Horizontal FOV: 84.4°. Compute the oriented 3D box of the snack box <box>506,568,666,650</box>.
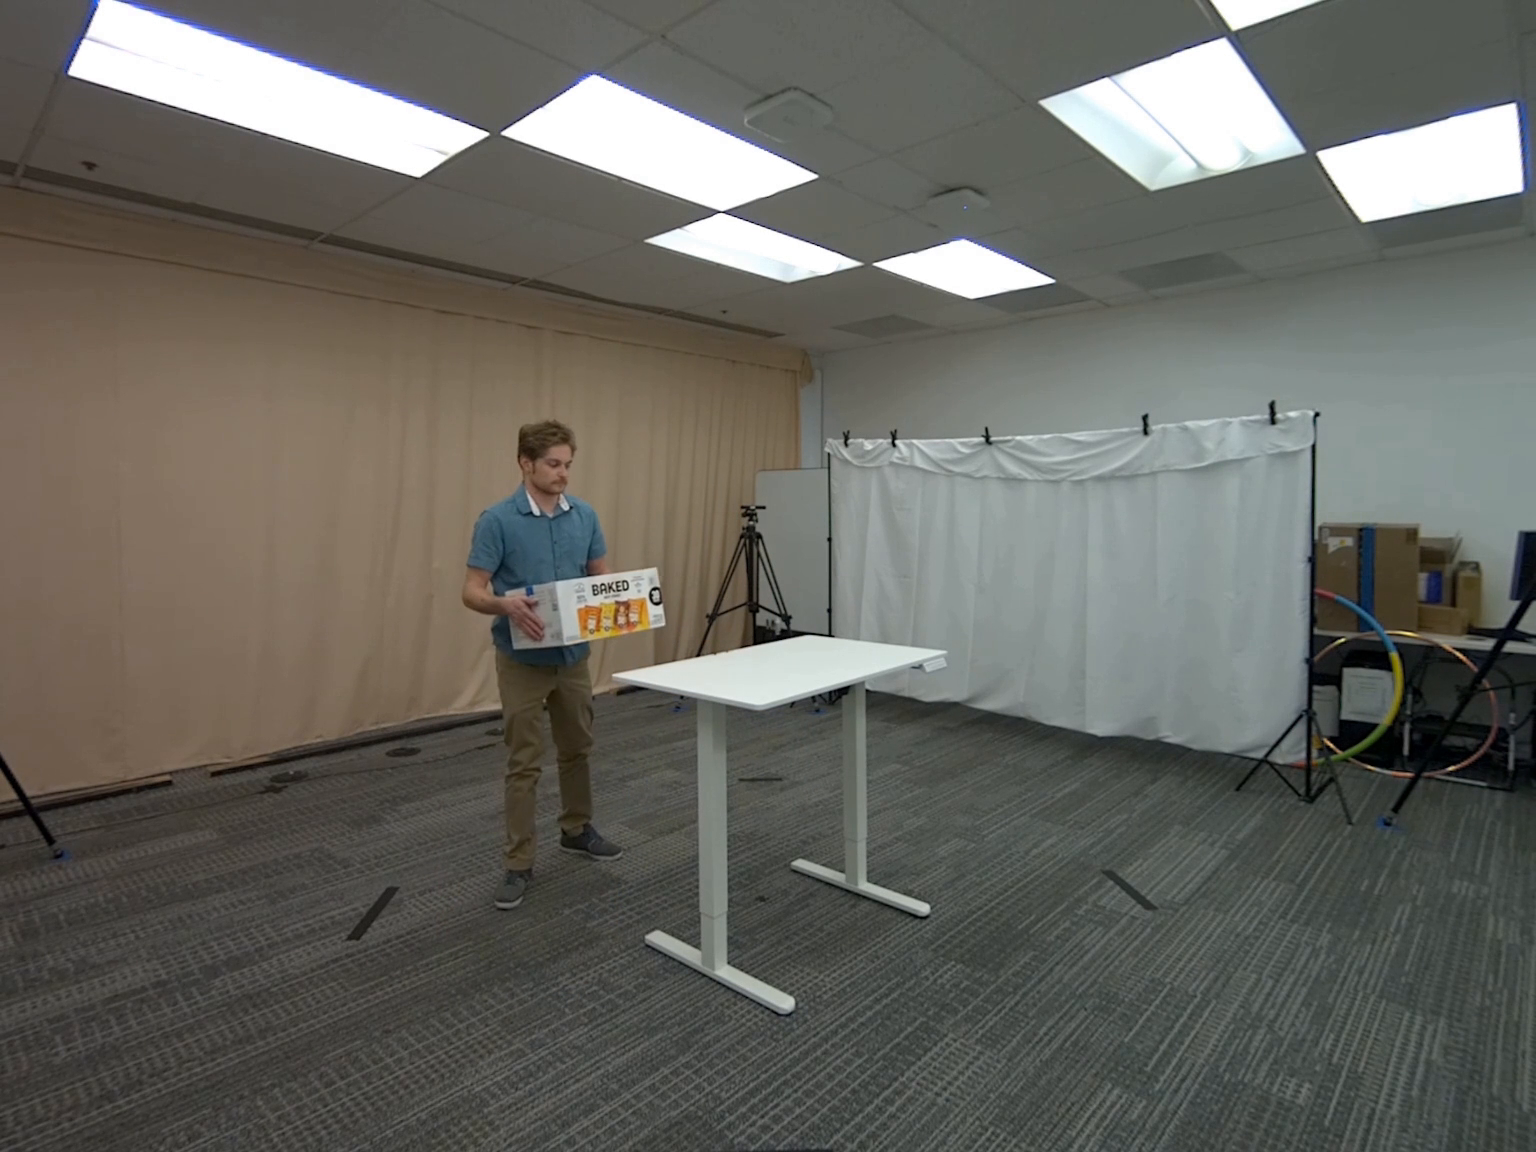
[{"bbox_3d":[-0.620,0.113,2.868,0.393,0.206,0.350,-9,-1,-43],"label":"snack box"}]
